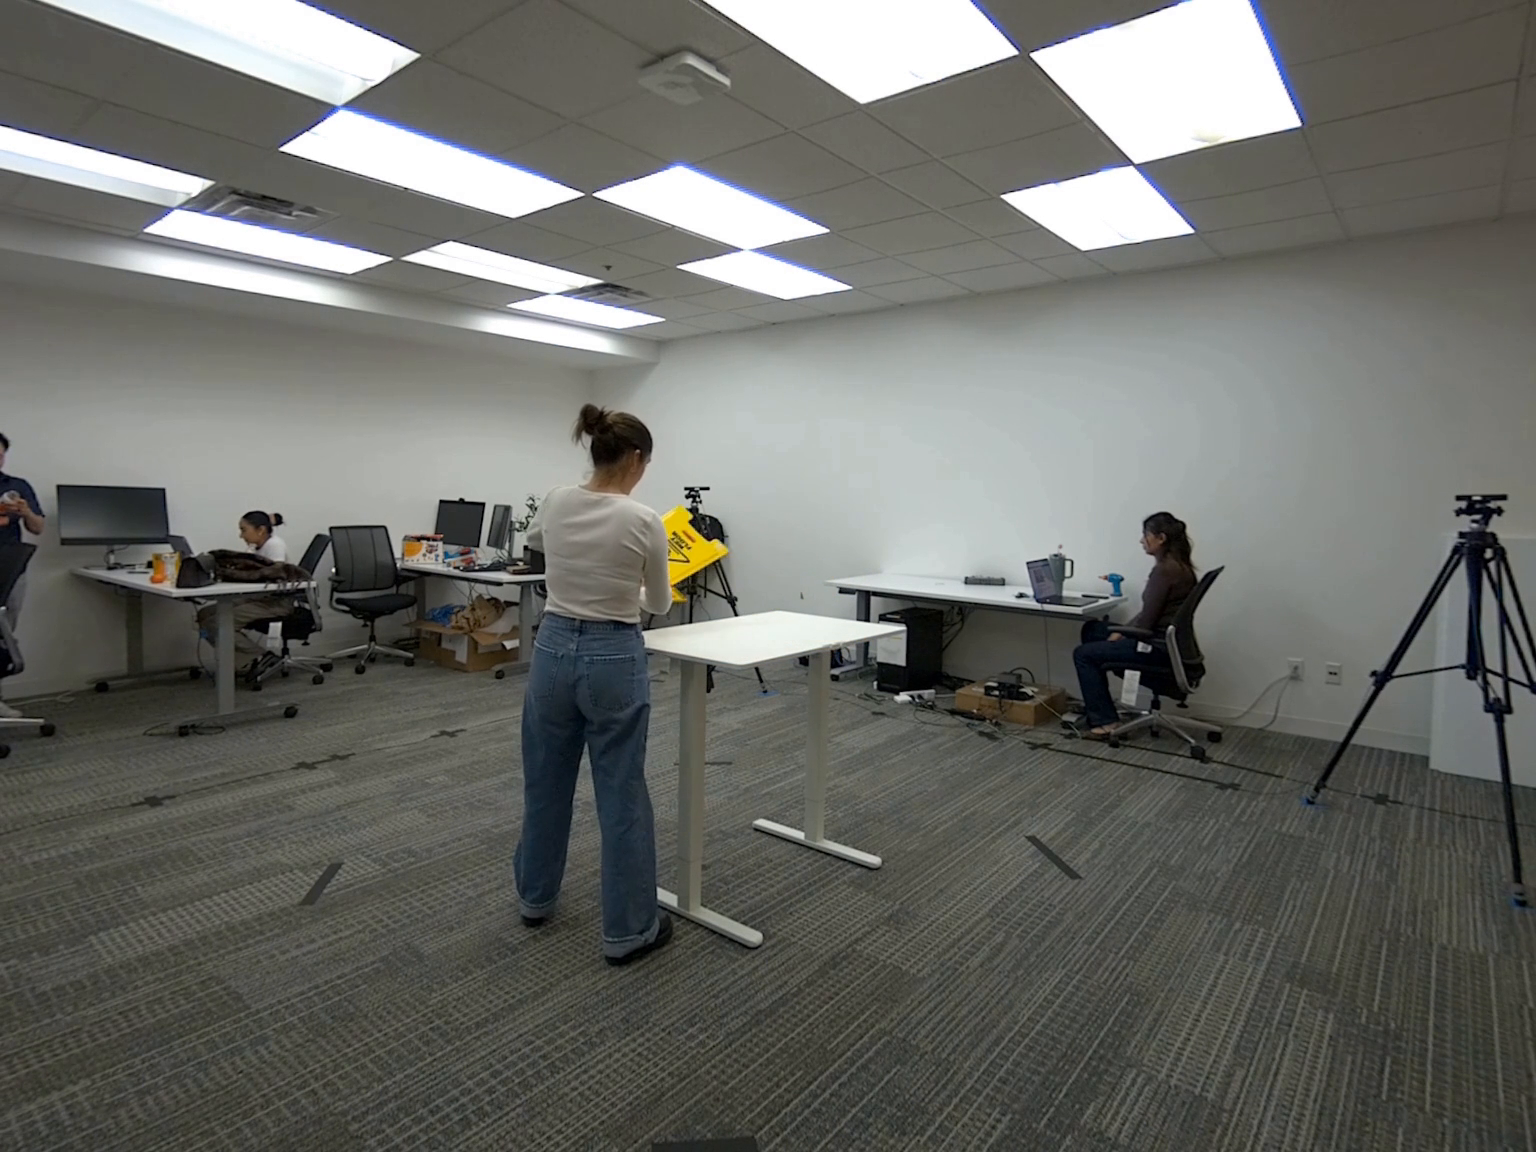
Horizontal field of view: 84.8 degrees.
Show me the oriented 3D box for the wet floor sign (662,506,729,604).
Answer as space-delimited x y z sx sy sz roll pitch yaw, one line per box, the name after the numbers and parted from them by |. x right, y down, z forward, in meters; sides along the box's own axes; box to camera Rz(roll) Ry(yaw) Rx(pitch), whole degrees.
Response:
-0.427 -0.027 3.169 0.285 0.289 0.640 43 17 4 | wet floor sign
